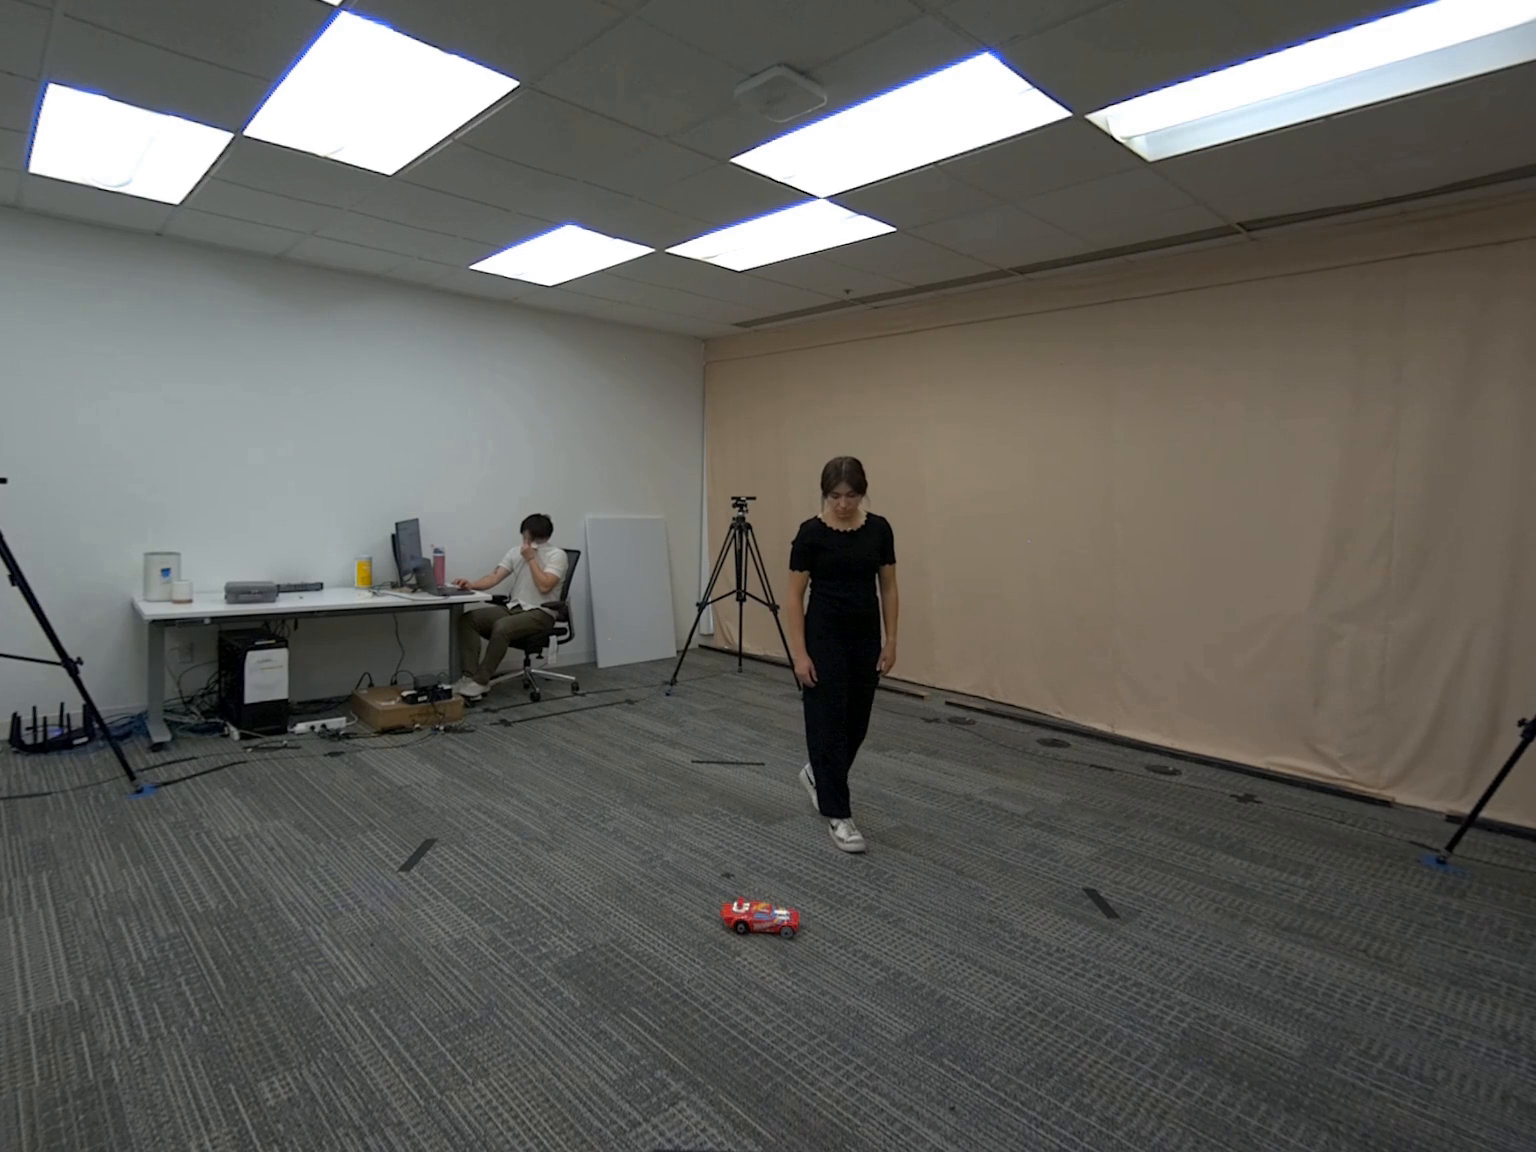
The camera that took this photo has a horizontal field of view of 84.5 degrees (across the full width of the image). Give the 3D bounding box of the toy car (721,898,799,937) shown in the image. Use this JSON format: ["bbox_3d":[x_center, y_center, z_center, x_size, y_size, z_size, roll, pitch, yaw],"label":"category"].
[{"bbox_3d":[-0.037,1.112,2.725,0.256,0.083,0.130,13,5,6],"label":"toy car"}]
